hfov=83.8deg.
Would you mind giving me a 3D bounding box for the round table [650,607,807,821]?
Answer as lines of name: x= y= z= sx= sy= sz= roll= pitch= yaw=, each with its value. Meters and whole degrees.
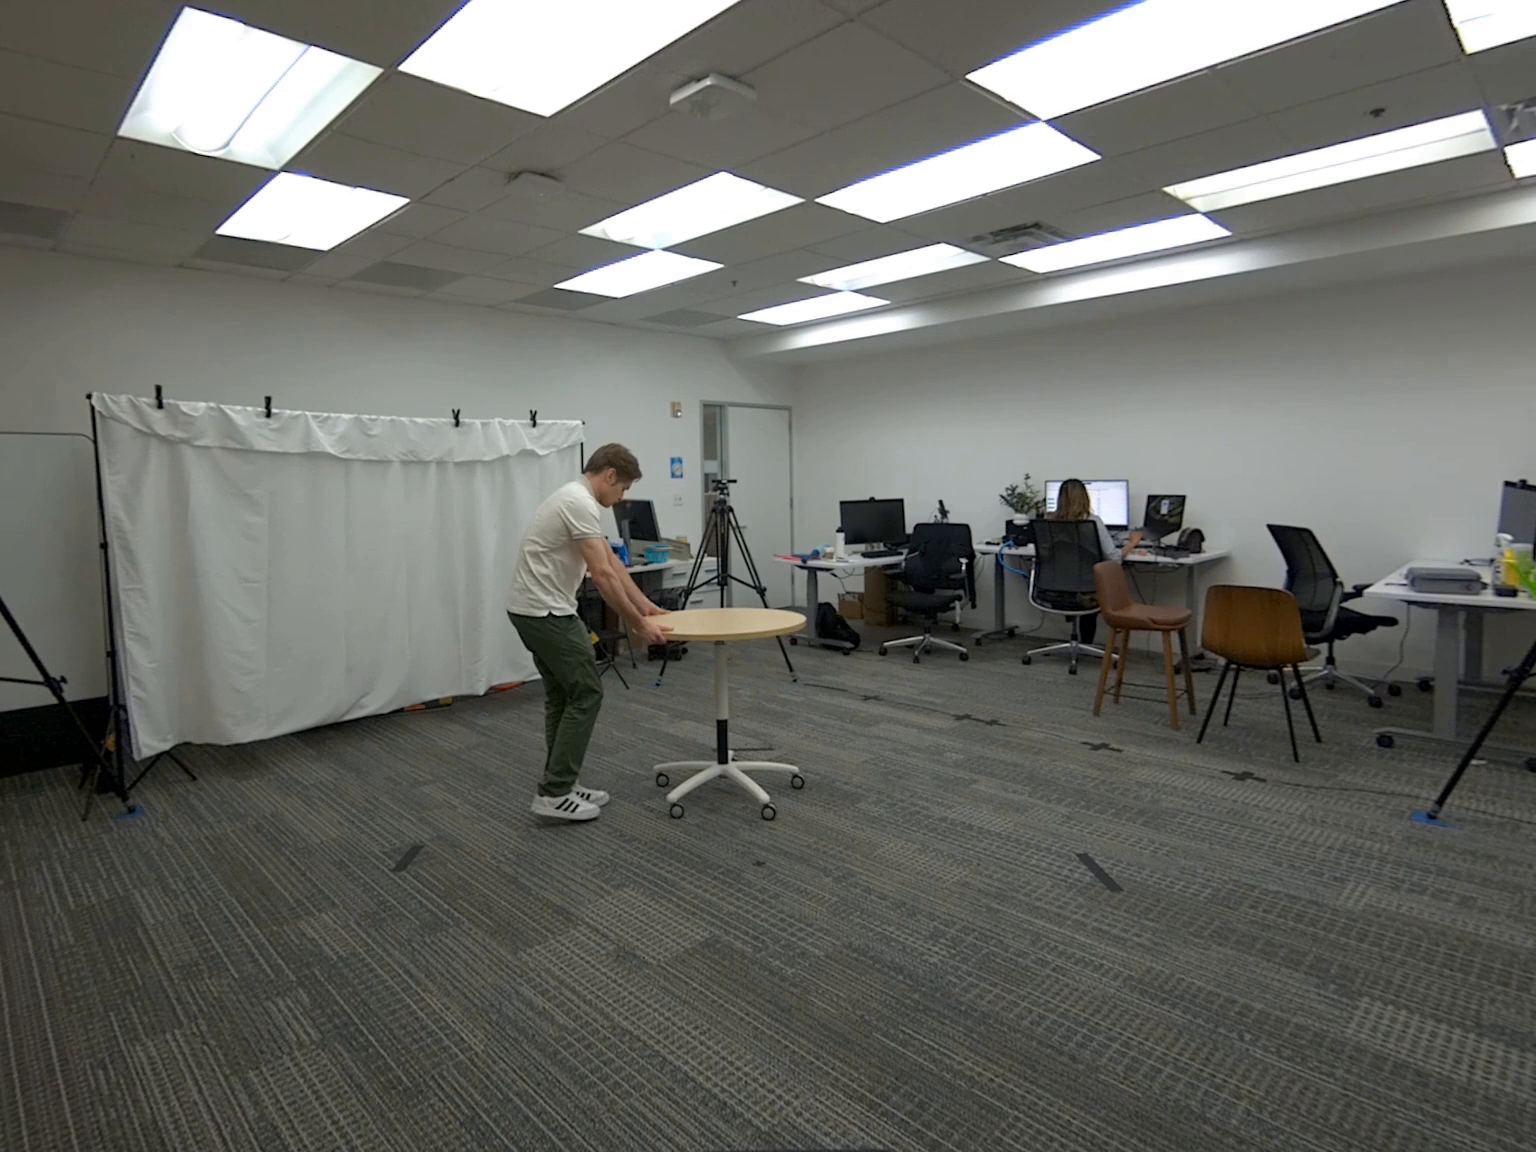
round table: x=-0.208 y=0.580 z=3.775 sx=0.784 sy=0.784 sz=0.788 roll=-2 pitch=4 yaw=-2
